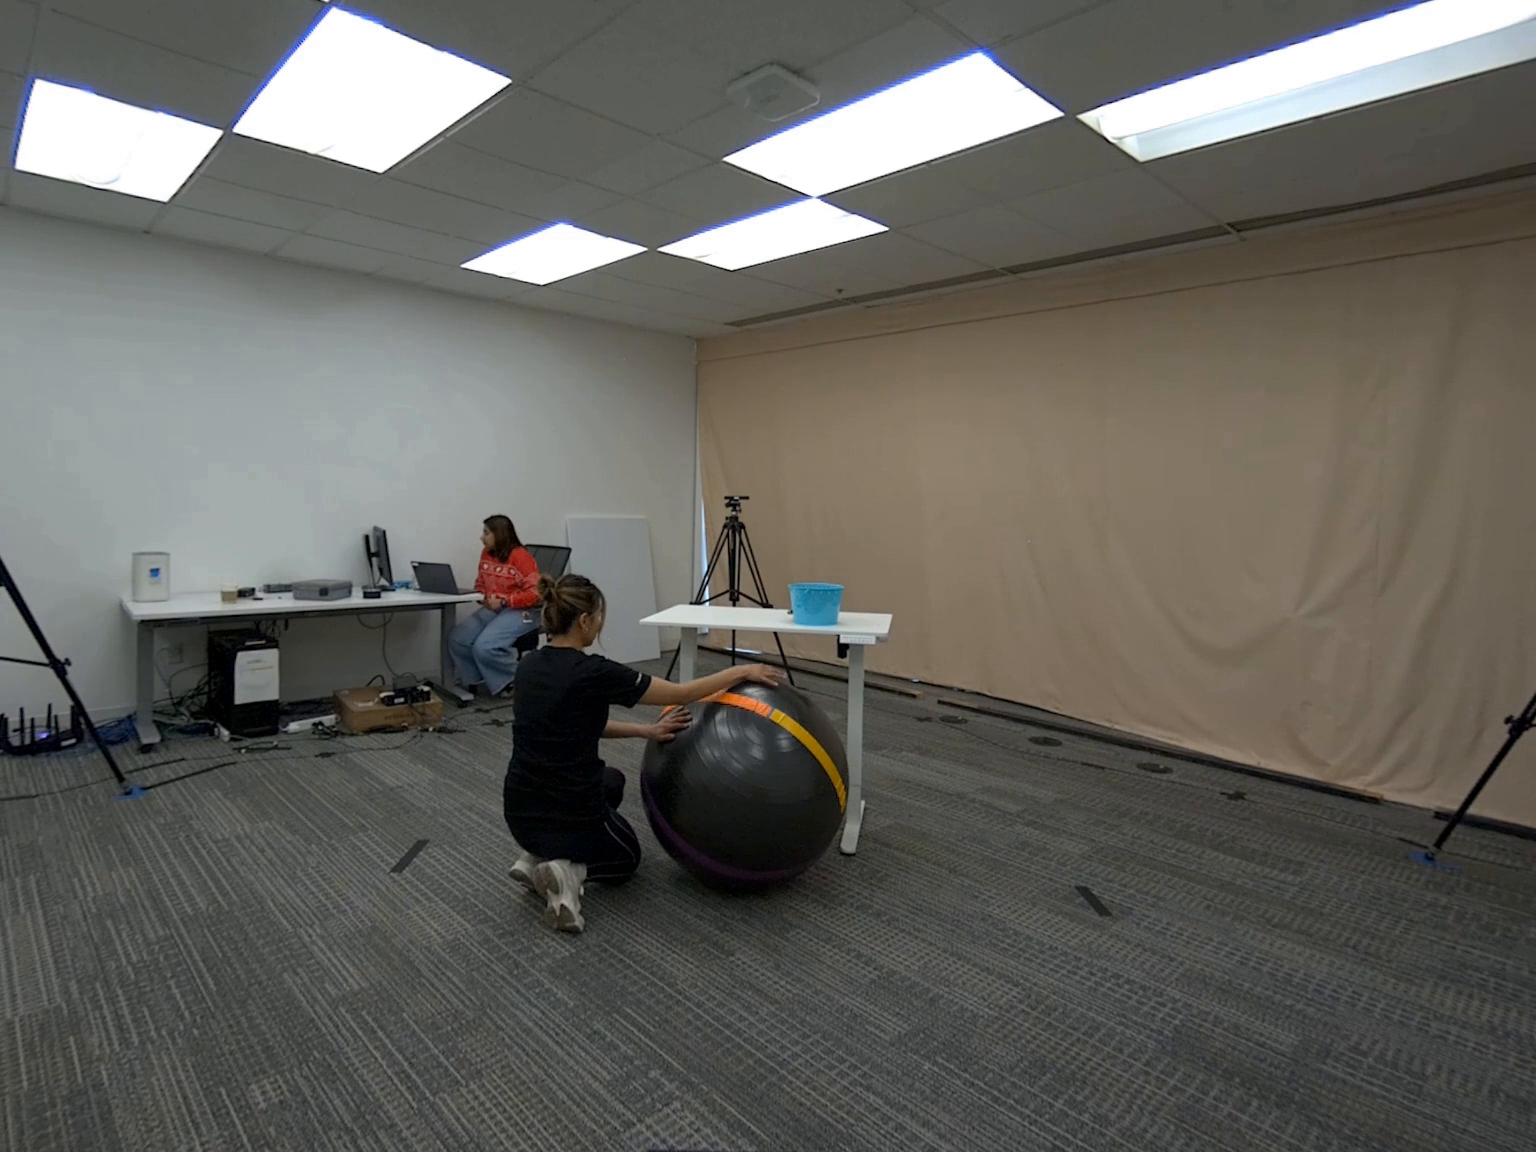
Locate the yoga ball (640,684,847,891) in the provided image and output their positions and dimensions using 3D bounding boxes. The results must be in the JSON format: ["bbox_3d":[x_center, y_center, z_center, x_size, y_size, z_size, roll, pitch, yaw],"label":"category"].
[{"bbox_3d":[-0.087,0.744,3.066,0.757,0.756,0.761,1,4,-1],"label":"yoga ball"}]
